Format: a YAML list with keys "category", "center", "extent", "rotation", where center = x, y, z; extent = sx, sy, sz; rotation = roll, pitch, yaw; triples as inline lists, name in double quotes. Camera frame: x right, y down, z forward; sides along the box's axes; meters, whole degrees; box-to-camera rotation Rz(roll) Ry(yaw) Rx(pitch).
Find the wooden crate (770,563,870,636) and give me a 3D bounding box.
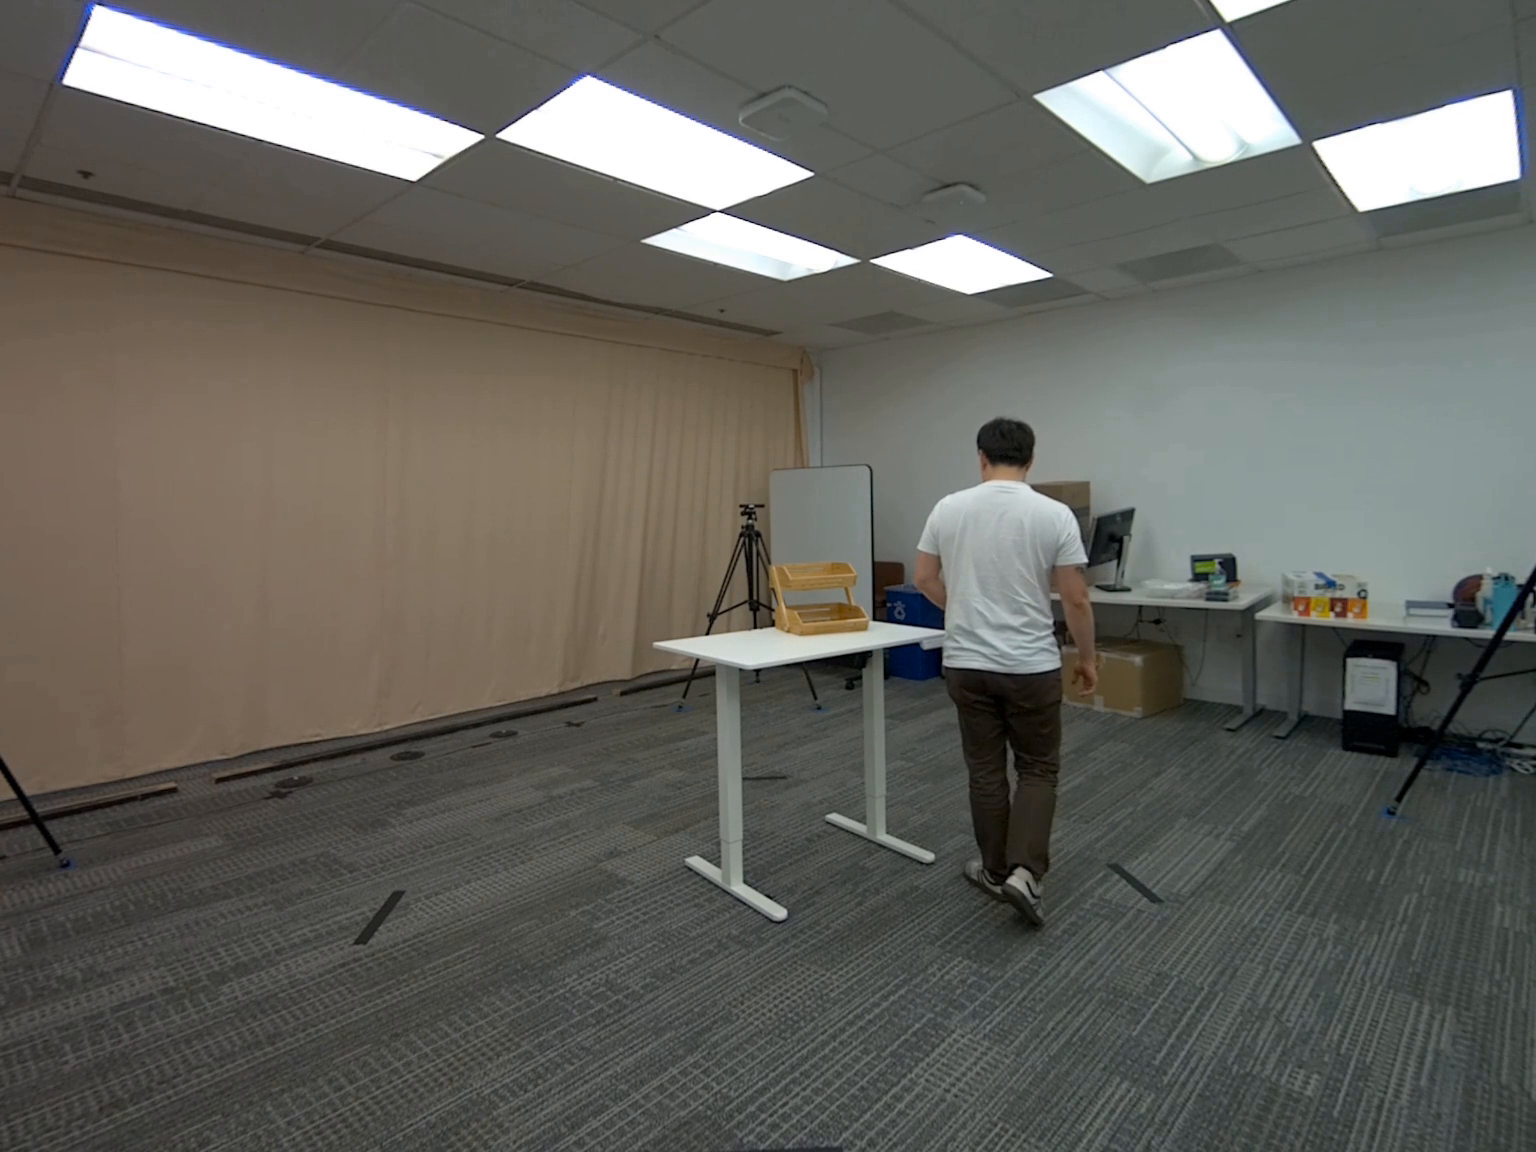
- category: "wooden crate"
  center: [0.217, 0.084, 3.425]
  extent: [0.318, 0.273, 0.309]
  rotation: [-3, 3, -22]
